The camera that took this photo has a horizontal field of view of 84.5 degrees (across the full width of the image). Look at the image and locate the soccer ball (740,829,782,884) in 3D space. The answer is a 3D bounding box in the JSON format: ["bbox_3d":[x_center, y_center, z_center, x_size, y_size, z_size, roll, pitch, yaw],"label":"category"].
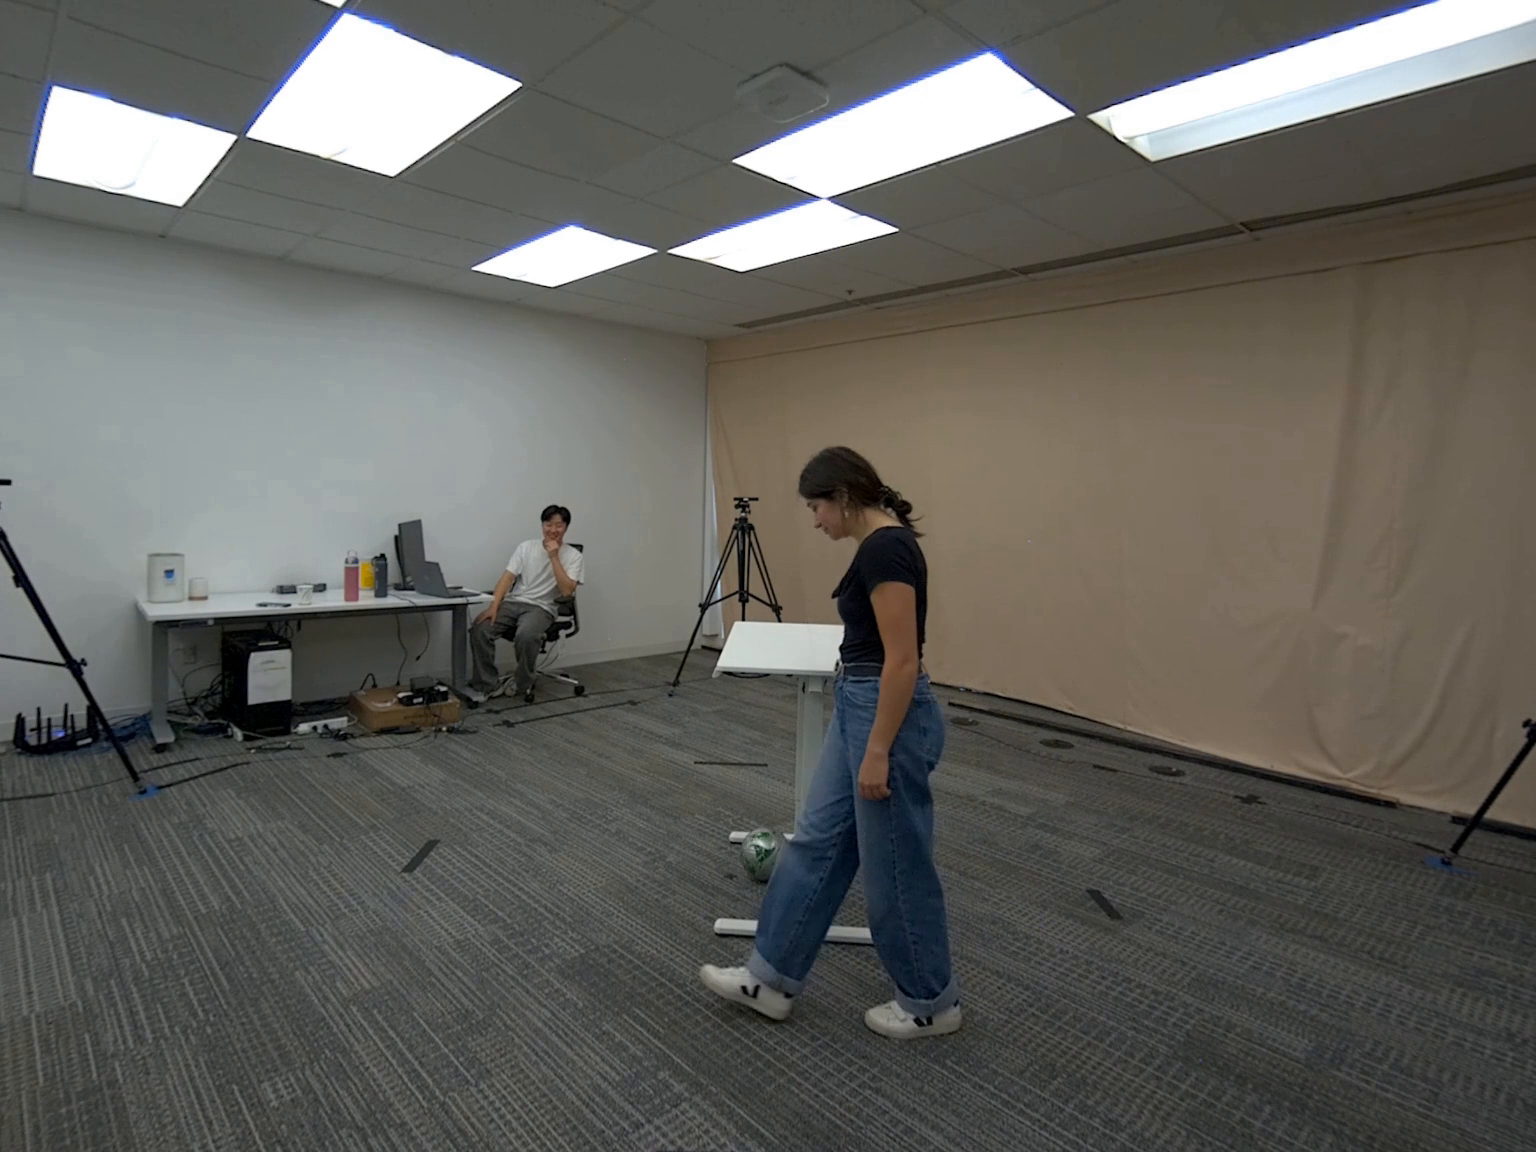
[{"bbox_3d":[-0.016,1.022,3.081,0.187,0.187,0.188,1,4,-1],"label":"soccer ball"}]
